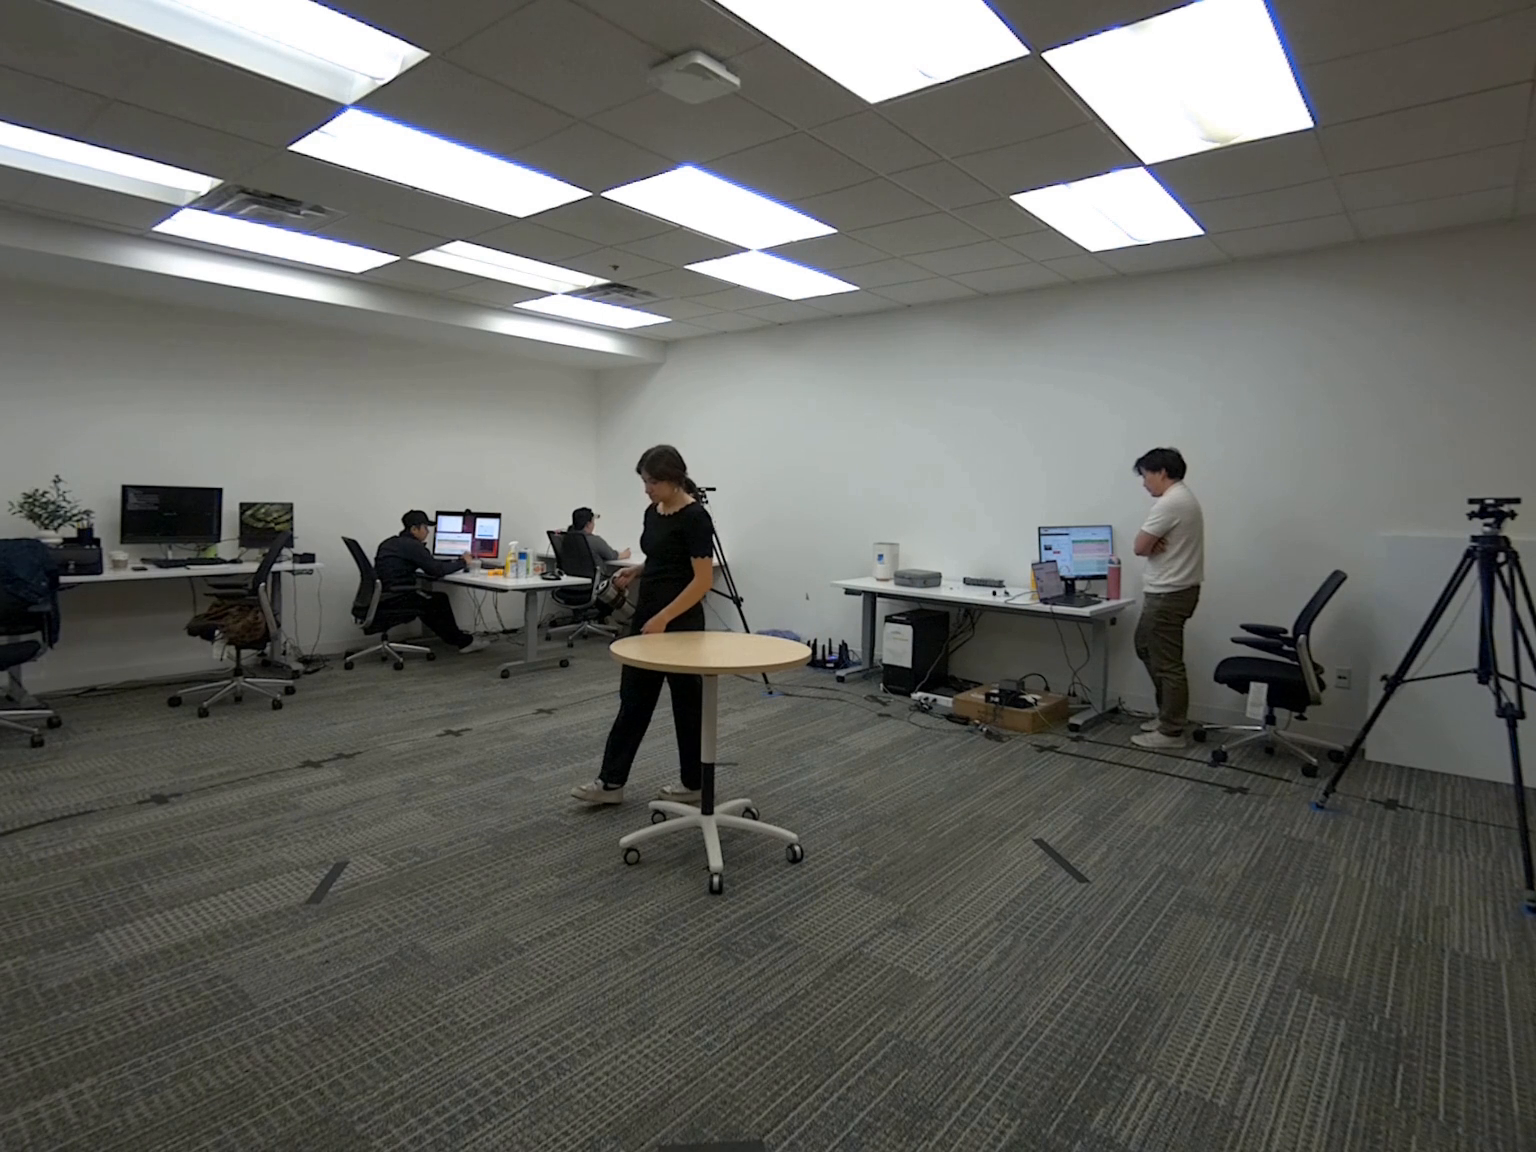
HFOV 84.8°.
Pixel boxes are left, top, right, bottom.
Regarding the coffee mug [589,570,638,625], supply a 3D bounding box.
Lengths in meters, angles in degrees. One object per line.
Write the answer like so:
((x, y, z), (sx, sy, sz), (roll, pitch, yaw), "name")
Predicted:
((-0.662, 0.091, 3.700), (0.197, 0.122, 0.090), (44, -9, -24), "coffee mug")
